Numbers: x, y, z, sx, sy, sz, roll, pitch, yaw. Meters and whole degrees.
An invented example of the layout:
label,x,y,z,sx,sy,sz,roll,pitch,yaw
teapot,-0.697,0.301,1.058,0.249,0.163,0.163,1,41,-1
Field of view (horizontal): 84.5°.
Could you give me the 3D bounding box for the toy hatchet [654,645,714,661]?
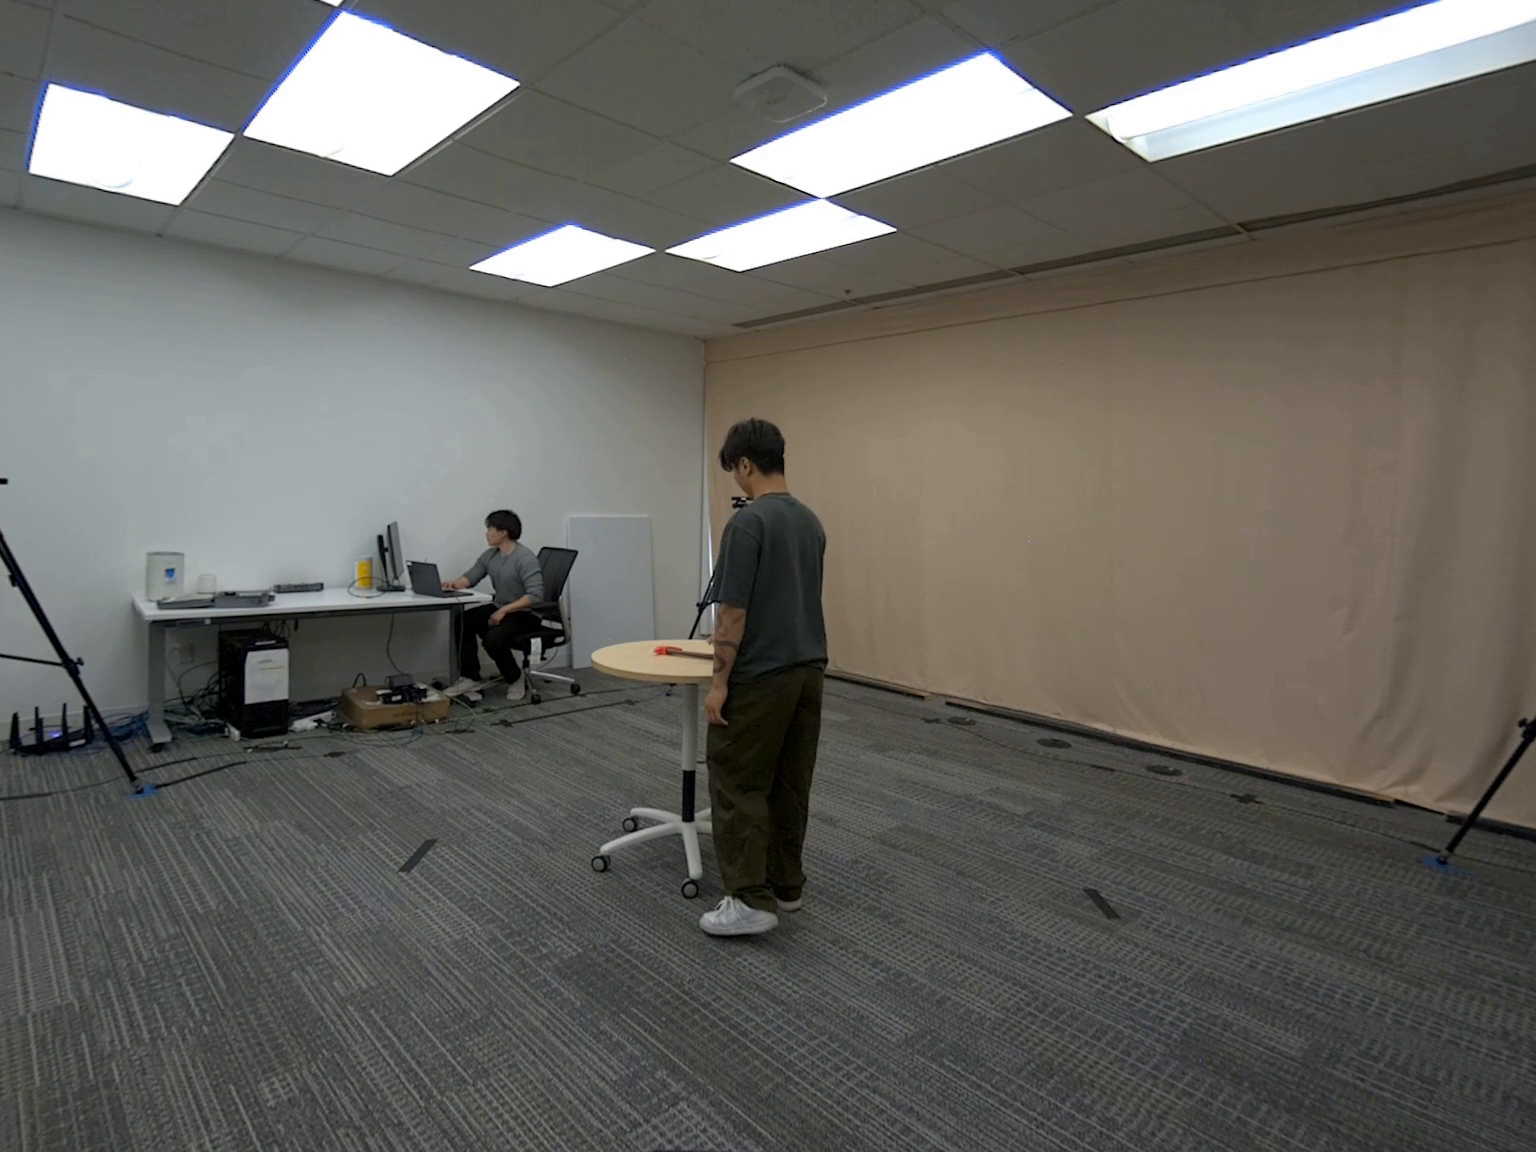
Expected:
label,x,y,z,sx,sy,sz,roll,pitch,yaw
toy hatchet,-0.309,0.296,3.238,0.273,0.029,0.129,5,1,12
